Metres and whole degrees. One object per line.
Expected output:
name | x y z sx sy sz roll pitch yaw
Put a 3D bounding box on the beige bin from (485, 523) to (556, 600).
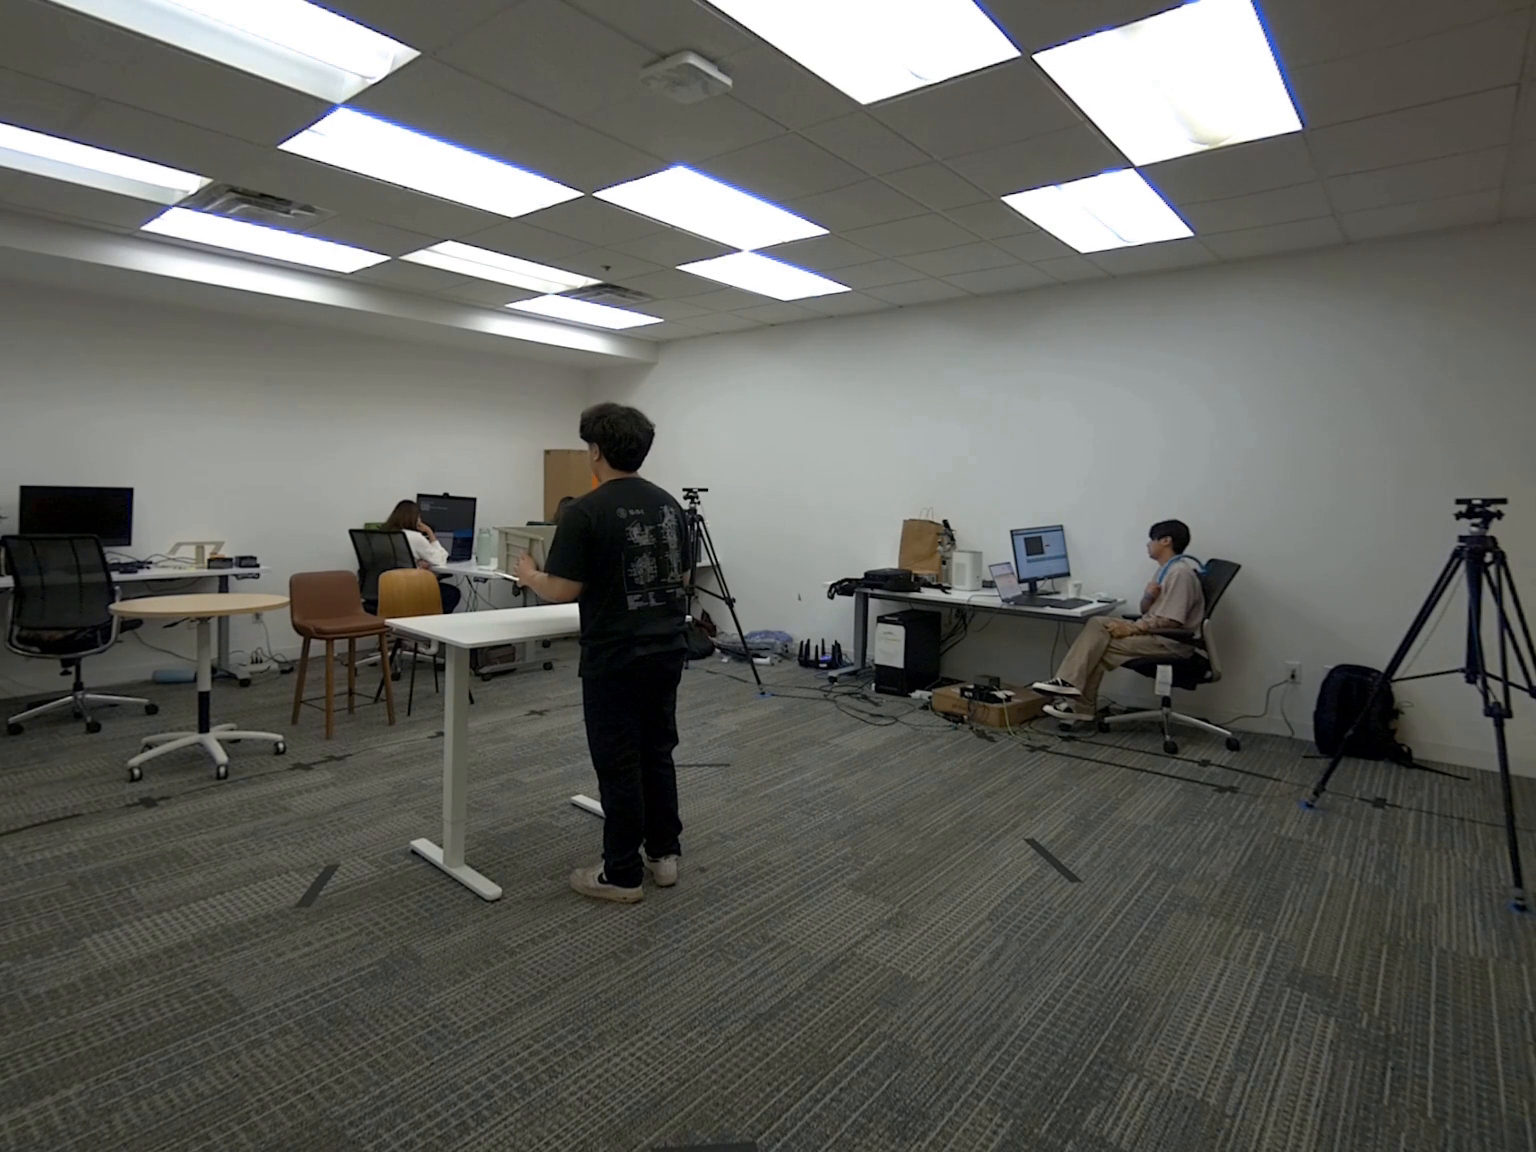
beige bin | -0.751 -0.073 3.177 0.409 0.188 0.391 -3 9 -43
